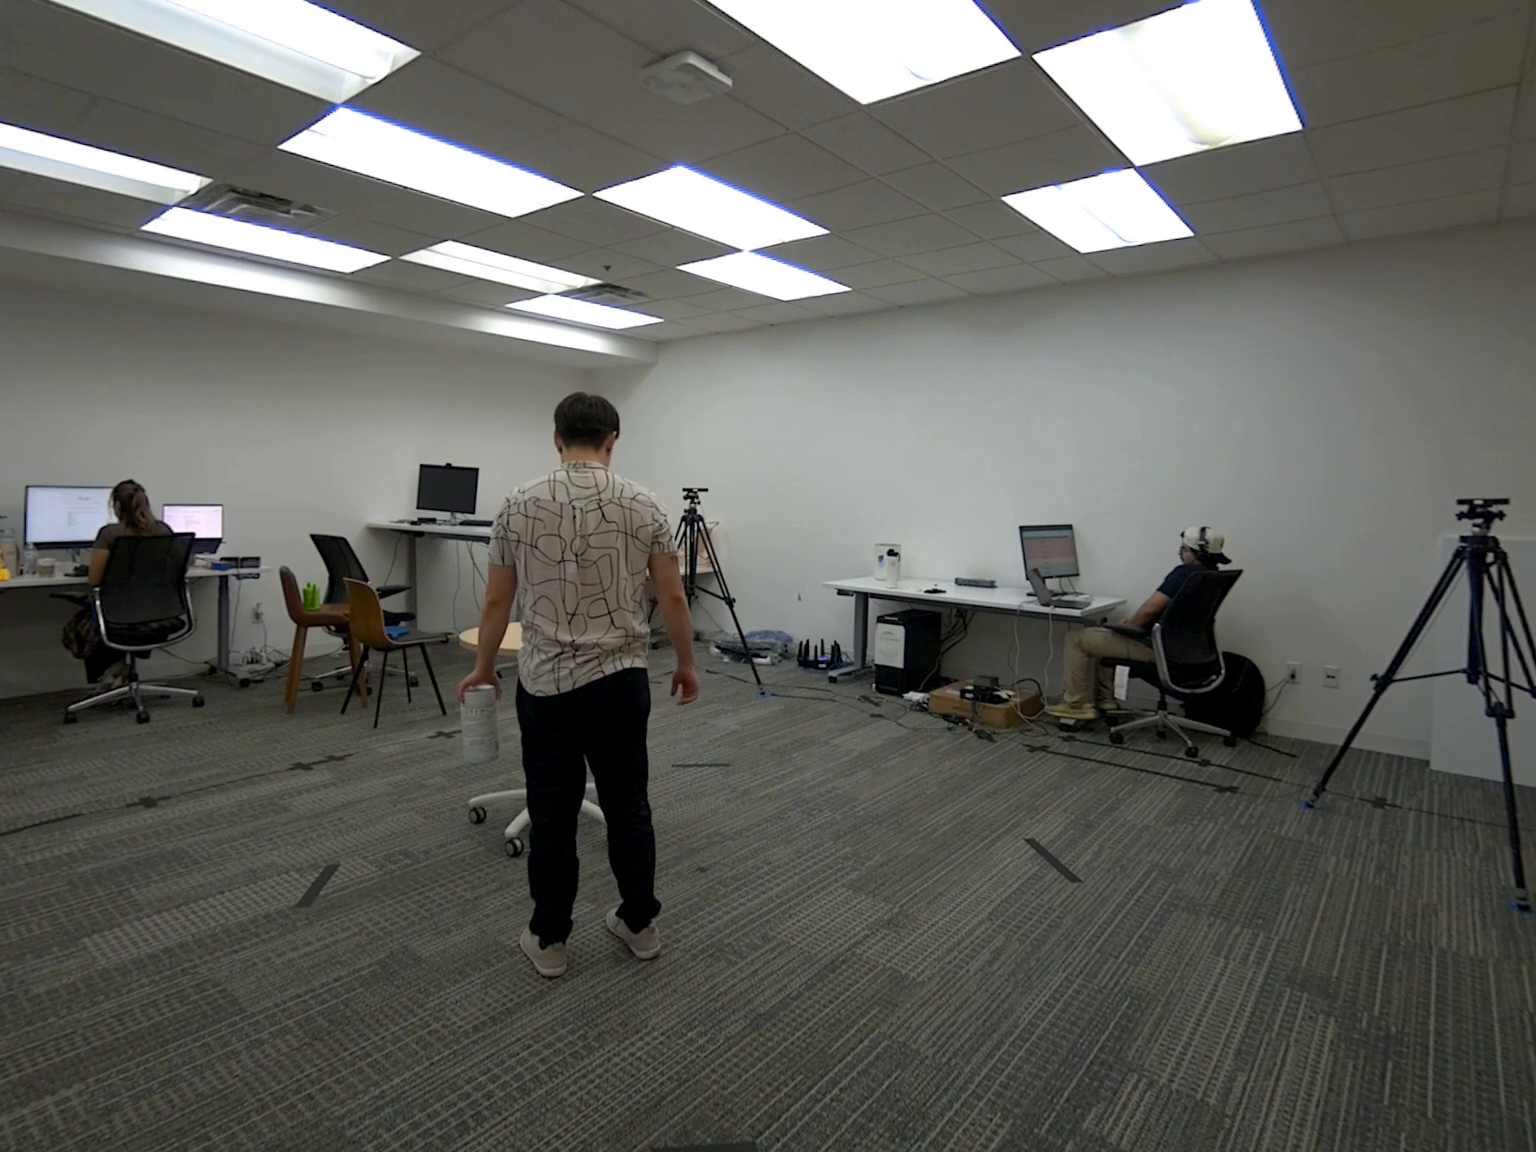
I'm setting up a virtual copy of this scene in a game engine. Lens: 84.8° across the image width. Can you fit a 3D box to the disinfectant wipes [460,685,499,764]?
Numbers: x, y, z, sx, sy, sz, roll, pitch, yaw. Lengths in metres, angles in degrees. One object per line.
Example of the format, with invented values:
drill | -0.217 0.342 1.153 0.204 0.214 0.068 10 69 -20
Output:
disinfectant wipes | -0.870 0.449 2.569 0.118 0.216 0.118 -2 4 -2
